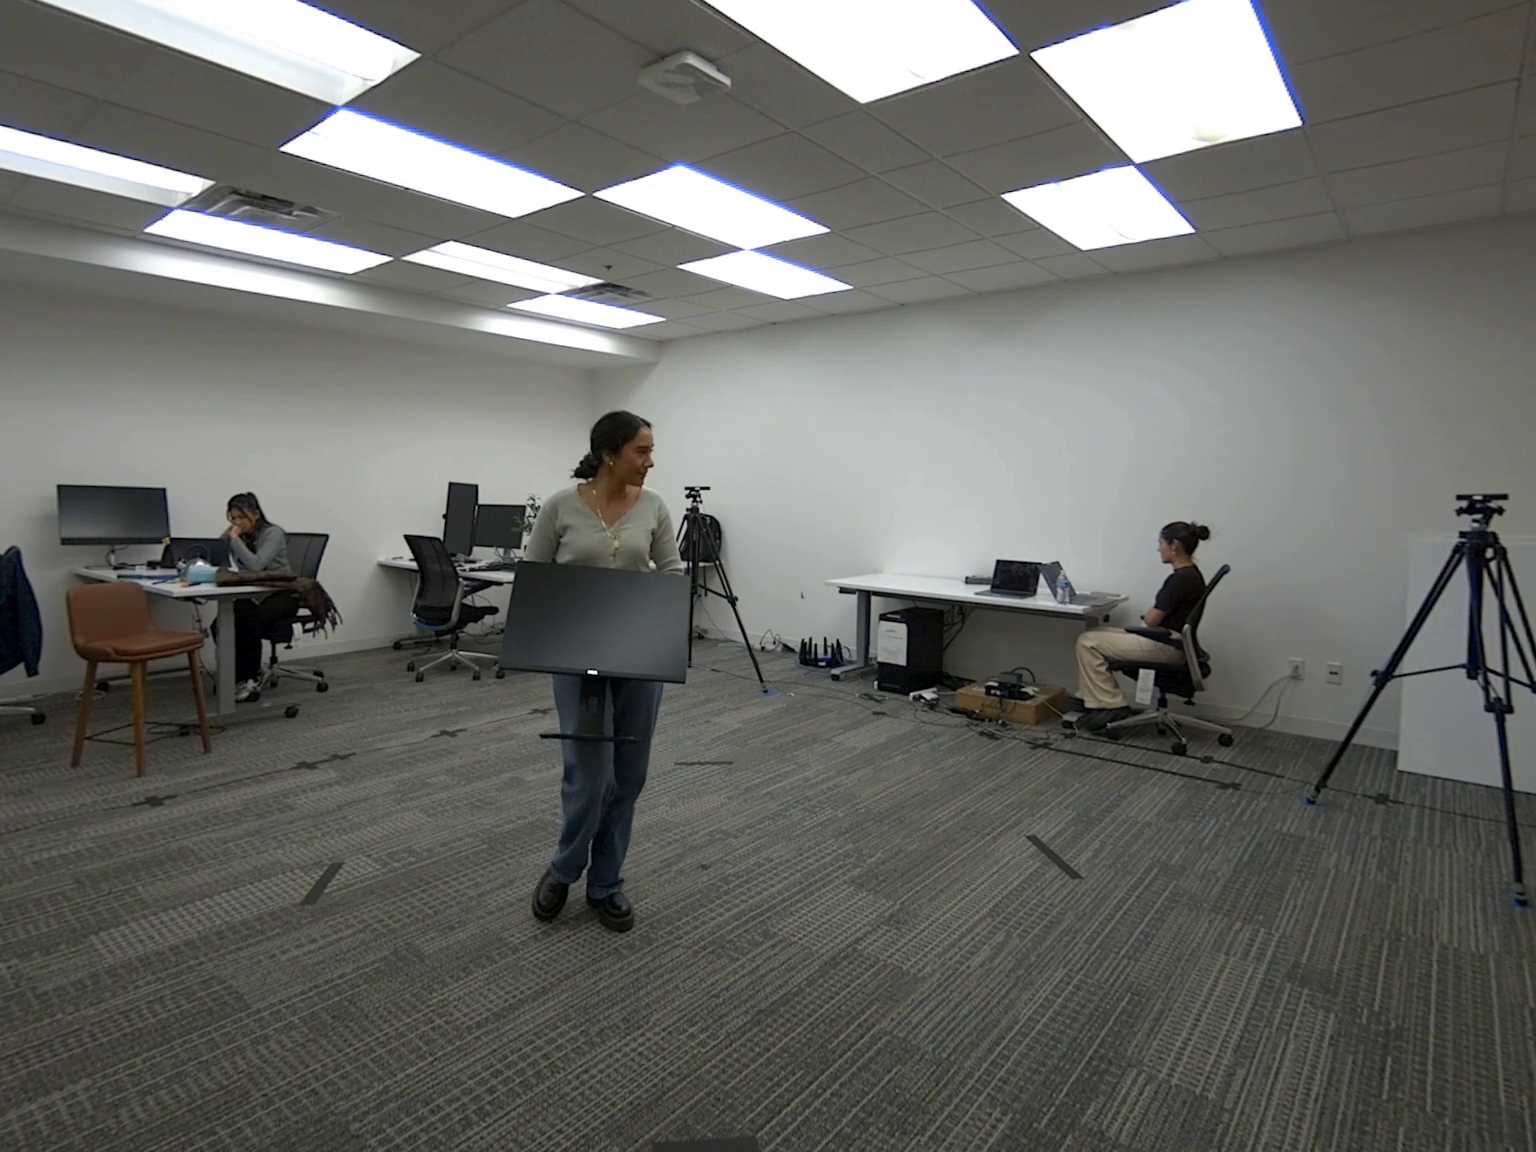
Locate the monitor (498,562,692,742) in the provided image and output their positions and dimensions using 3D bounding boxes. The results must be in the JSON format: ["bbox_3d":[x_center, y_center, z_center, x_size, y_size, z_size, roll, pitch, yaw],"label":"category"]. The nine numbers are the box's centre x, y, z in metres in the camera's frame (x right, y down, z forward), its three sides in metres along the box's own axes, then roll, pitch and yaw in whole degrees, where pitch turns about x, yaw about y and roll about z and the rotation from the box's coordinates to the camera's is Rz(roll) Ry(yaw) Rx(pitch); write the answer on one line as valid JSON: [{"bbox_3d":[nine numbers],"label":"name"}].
[{"bbox_3d":[-0.525,0.221,2.517,0.527,0.521,0.174,6,-12,-5],"label":"monitor"}]
